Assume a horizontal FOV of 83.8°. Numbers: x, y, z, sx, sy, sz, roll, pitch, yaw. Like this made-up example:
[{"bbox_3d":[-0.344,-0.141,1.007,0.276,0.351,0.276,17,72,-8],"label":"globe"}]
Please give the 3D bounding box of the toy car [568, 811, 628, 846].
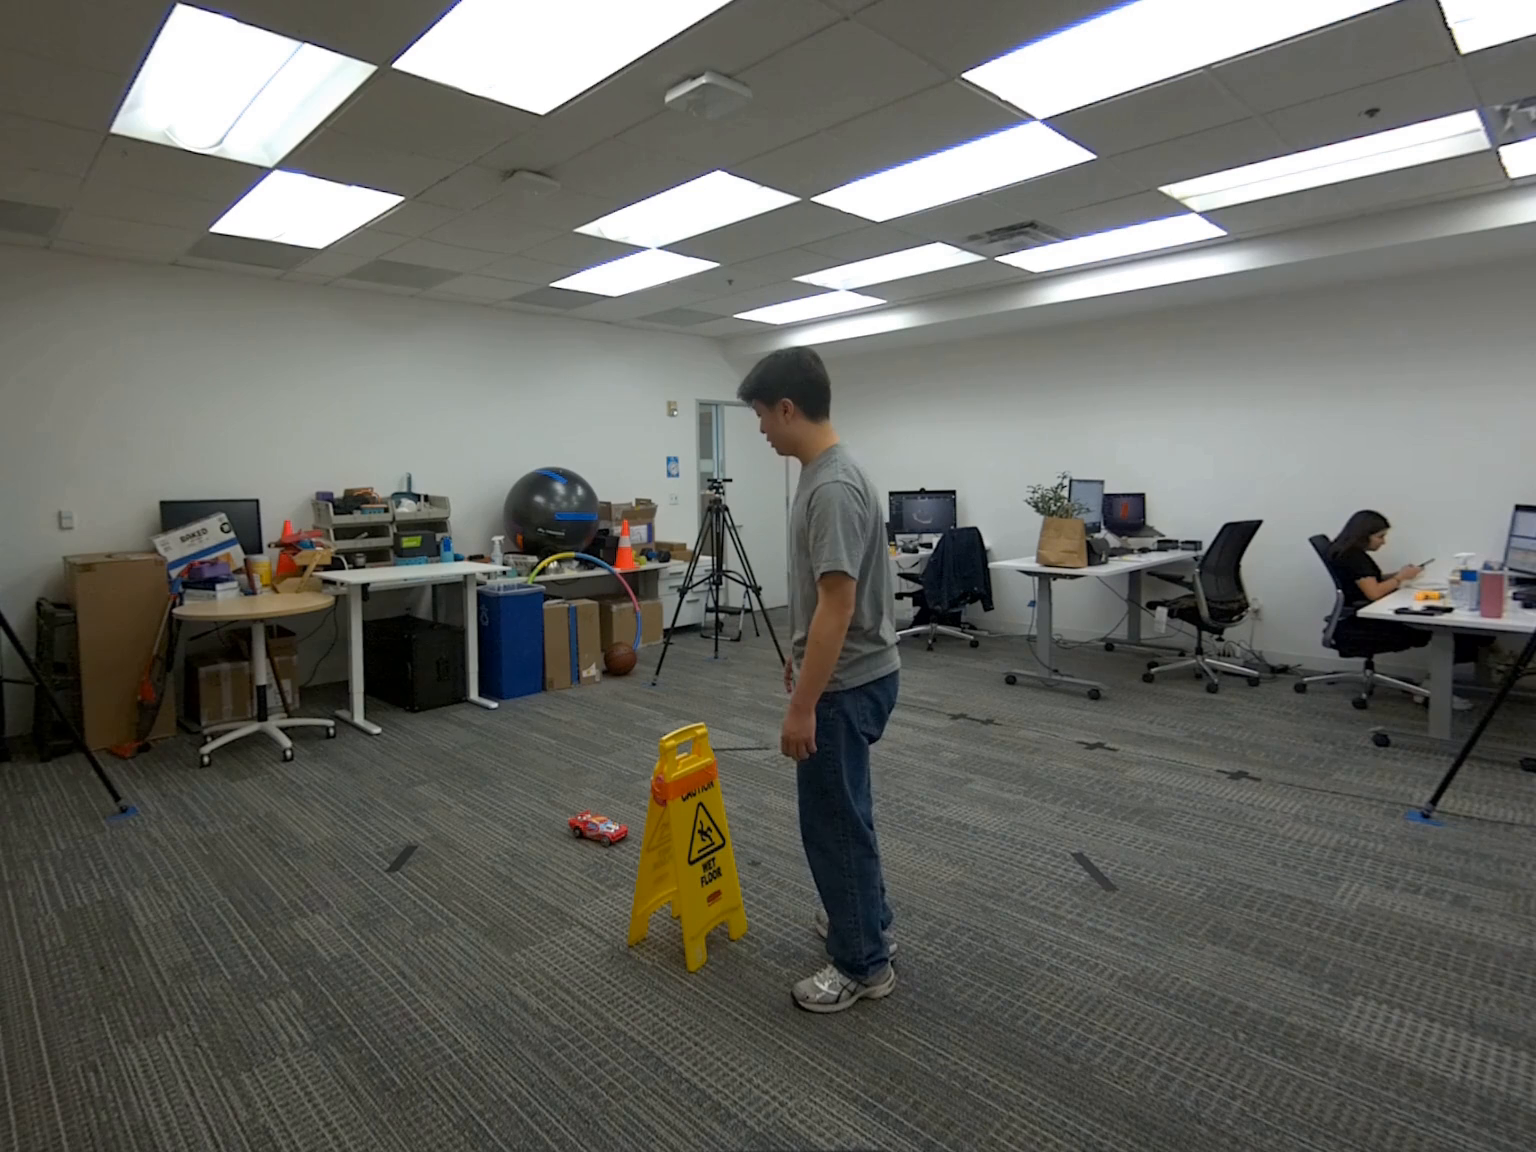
[{"bbox_3d":[-0.675,0.997,3.367,0.263,0.082,0.127,14,13,31],"label":"toy car"}]
